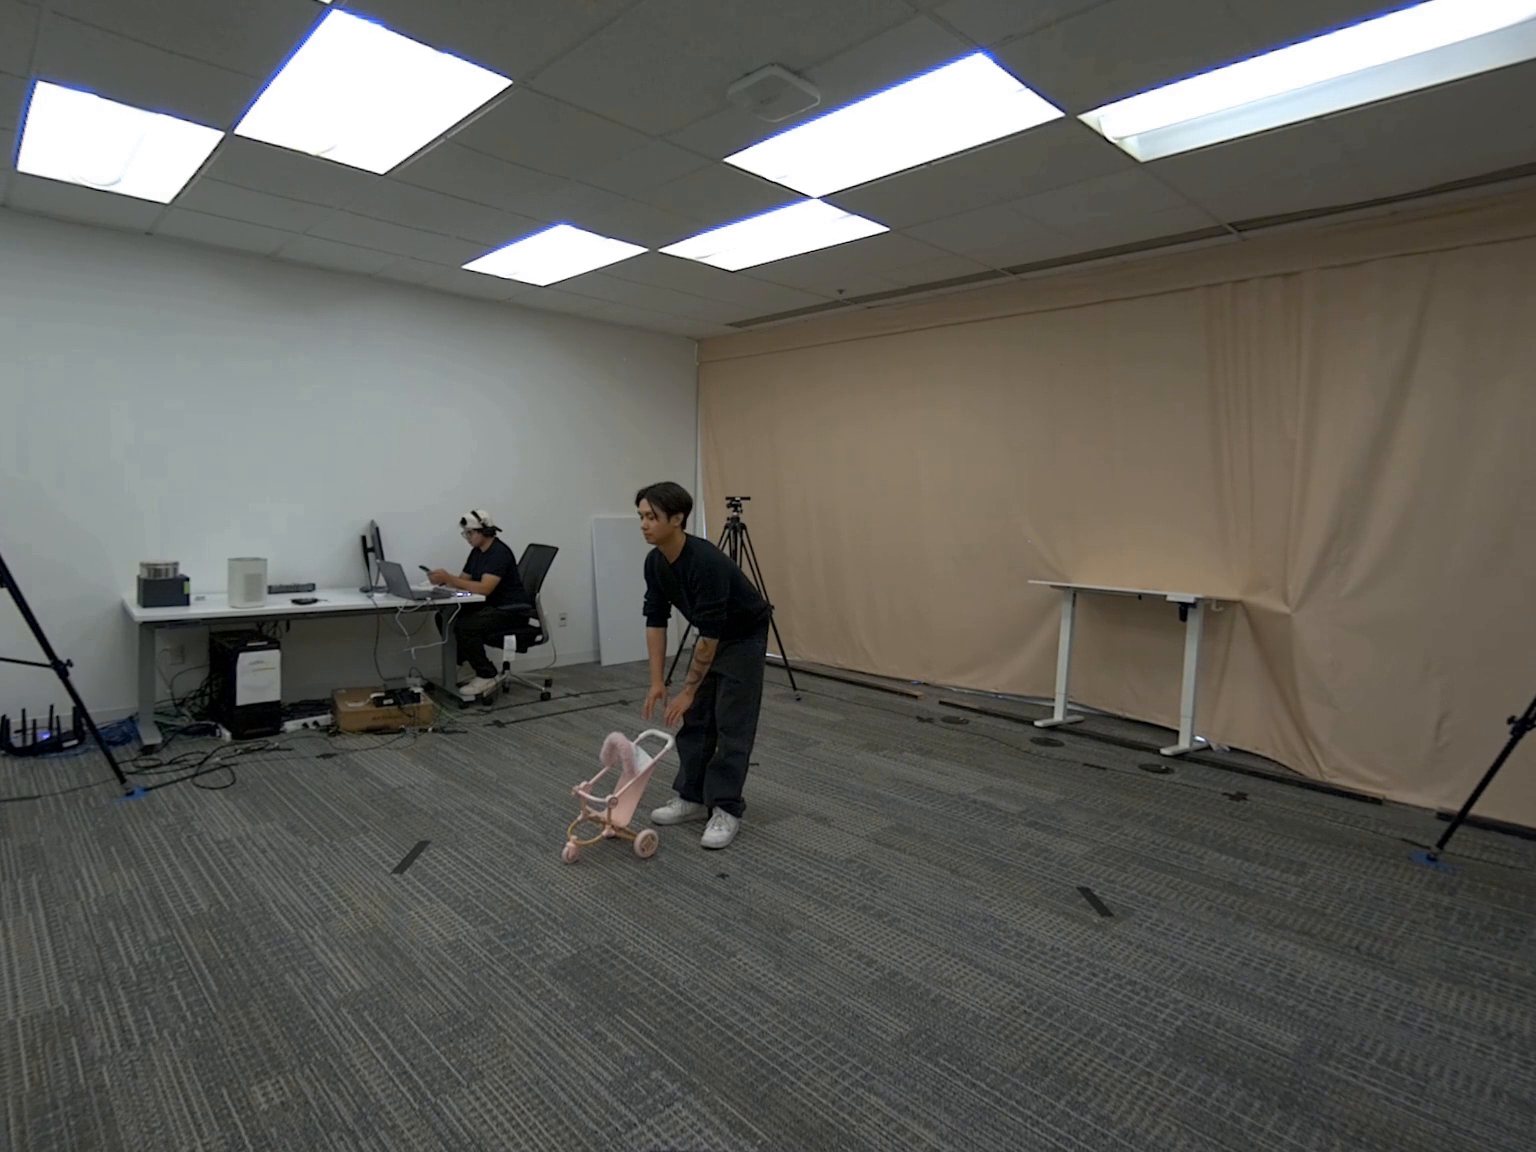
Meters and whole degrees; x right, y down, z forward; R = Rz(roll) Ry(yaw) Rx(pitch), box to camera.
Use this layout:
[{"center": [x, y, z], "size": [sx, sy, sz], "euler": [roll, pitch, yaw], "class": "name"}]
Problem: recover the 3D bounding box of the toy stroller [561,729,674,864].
[{"center": [-0.605, 0.854, 3.290], "size": [0.332, 0.537, 0.288], "euler": [18, -7, -36], "class": "toy stroller"}]
